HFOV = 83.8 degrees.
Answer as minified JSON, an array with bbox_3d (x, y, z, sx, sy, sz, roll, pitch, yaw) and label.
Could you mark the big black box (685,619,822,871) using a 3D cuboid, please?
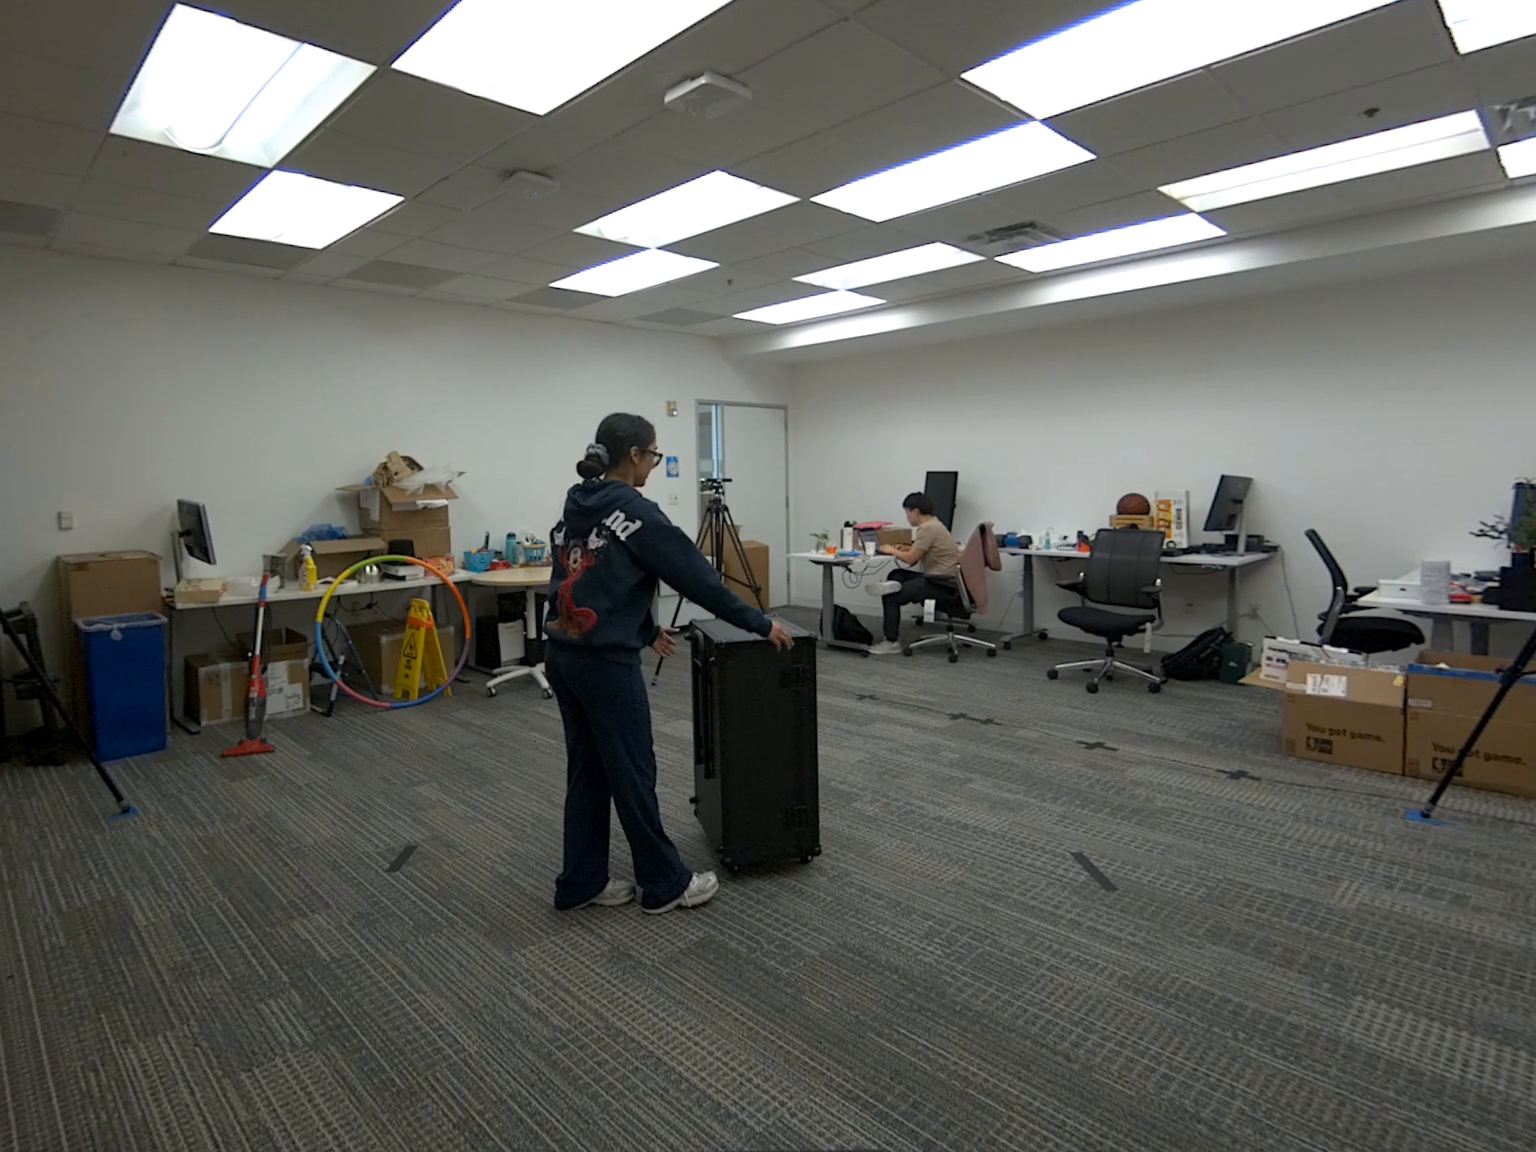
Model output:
[{"bbox_3d":[-0.063,0.614,3.164,0.391,0.857,0.531,-4,6,-15],"label":"big black box"}]
